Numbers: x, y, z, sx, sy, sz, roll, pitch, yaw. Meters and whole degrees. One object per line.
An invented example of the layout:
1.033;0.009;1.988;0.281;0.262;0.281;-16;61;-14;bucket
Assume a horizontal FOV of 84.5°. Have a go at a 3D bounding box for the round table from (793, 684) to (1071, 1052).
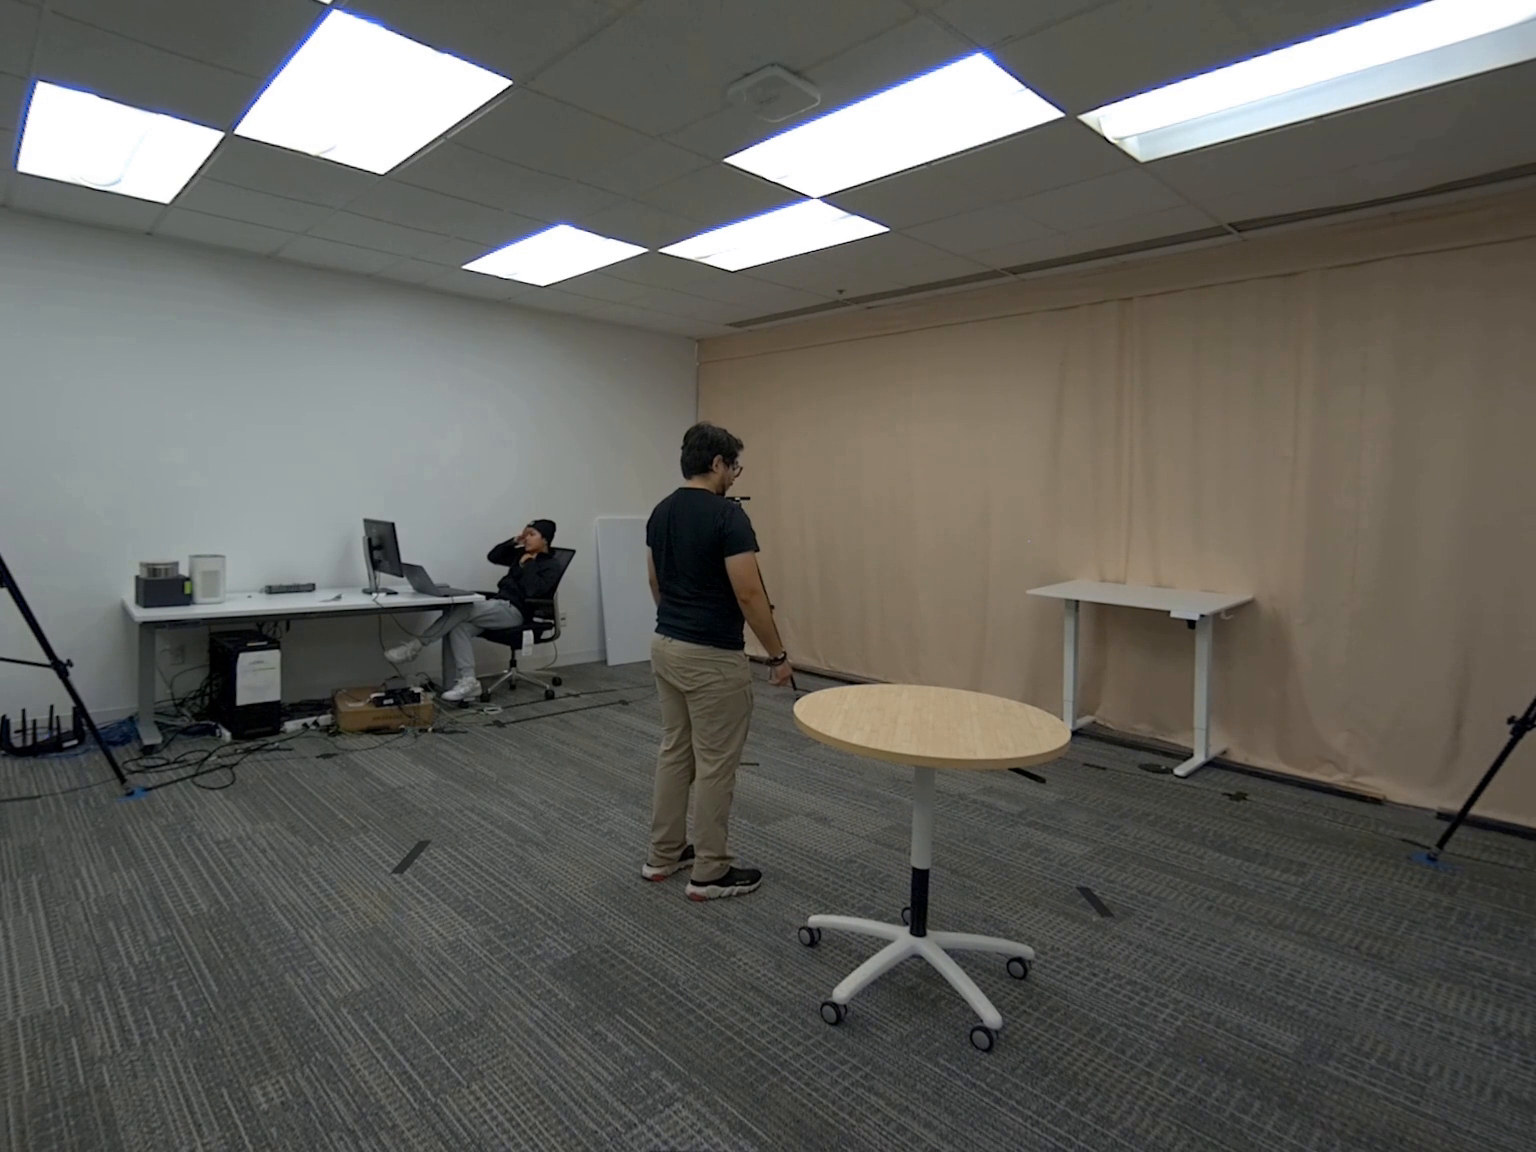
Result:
0.442;0.787;2.449;0.784;0.784;0.788;2;5;-2;round table
